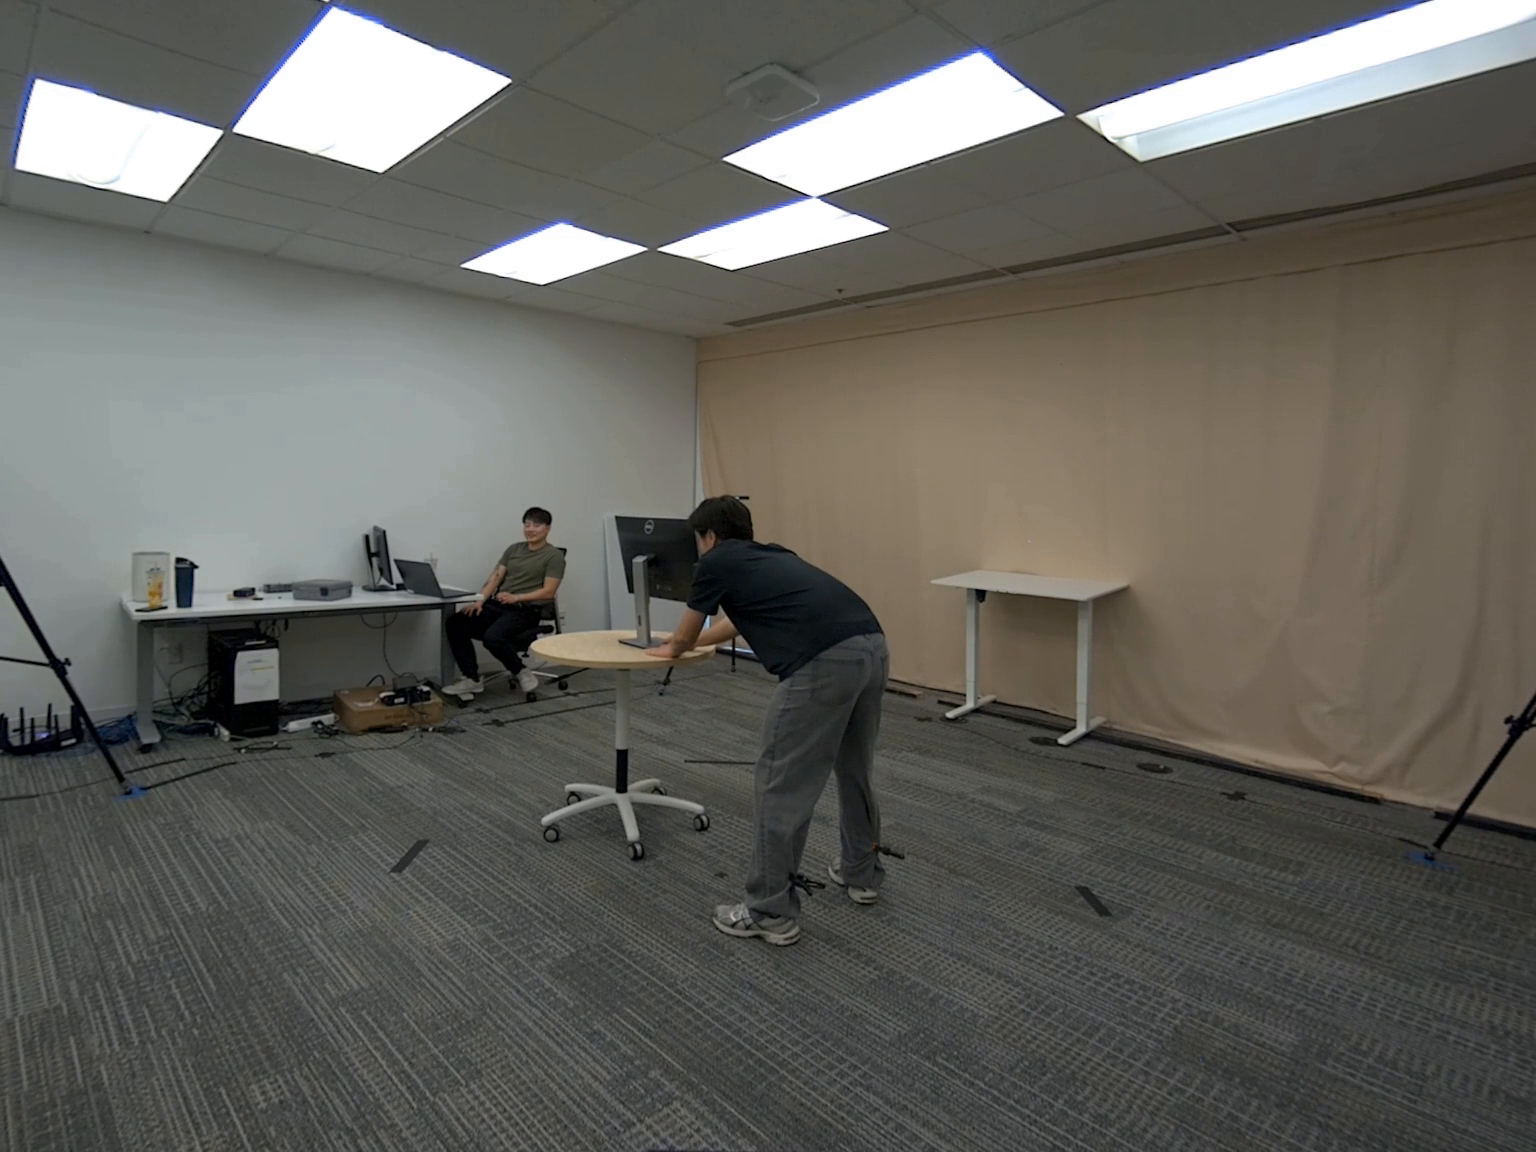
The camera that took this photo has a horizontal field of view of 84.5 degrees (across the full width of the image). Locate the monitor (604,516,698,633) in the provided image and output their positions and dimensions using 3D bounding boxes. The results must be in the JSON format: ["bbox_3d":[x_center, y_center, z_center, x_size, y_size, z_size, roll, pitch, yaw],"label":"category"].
[{"bbox_3d":[-0.504,0.023,3.514,0.206,0.550,0.580,-10,11,-43],"label":"monitor"}]
